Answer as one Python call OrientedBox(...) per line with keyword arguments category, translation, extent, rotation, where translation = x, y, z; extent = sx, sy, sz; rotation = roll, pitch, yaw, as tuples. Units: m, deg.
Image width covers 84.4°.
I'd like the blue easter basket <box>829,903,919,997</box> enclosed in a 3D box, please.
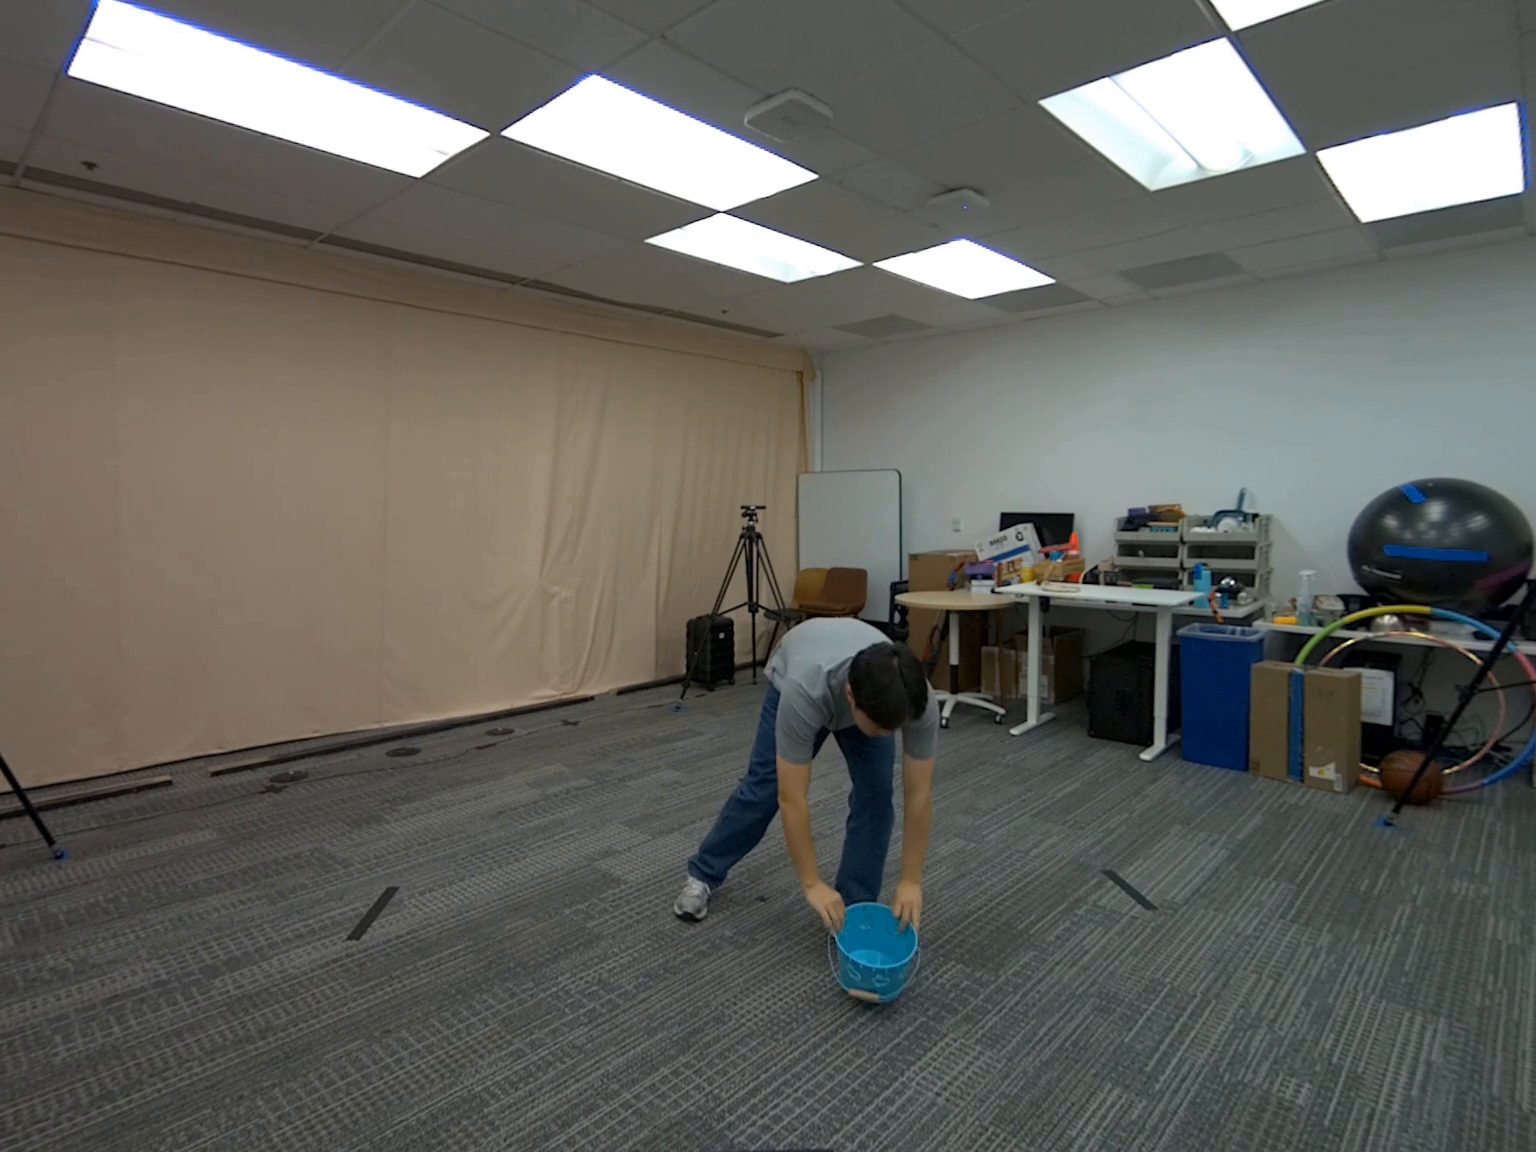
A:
OrientedBox(category="blue easter basket", translation=(0.307, 0.978, 2.362), extent=(0.238, 0.249, 0.156), rotation=(-2, -32, -26))
